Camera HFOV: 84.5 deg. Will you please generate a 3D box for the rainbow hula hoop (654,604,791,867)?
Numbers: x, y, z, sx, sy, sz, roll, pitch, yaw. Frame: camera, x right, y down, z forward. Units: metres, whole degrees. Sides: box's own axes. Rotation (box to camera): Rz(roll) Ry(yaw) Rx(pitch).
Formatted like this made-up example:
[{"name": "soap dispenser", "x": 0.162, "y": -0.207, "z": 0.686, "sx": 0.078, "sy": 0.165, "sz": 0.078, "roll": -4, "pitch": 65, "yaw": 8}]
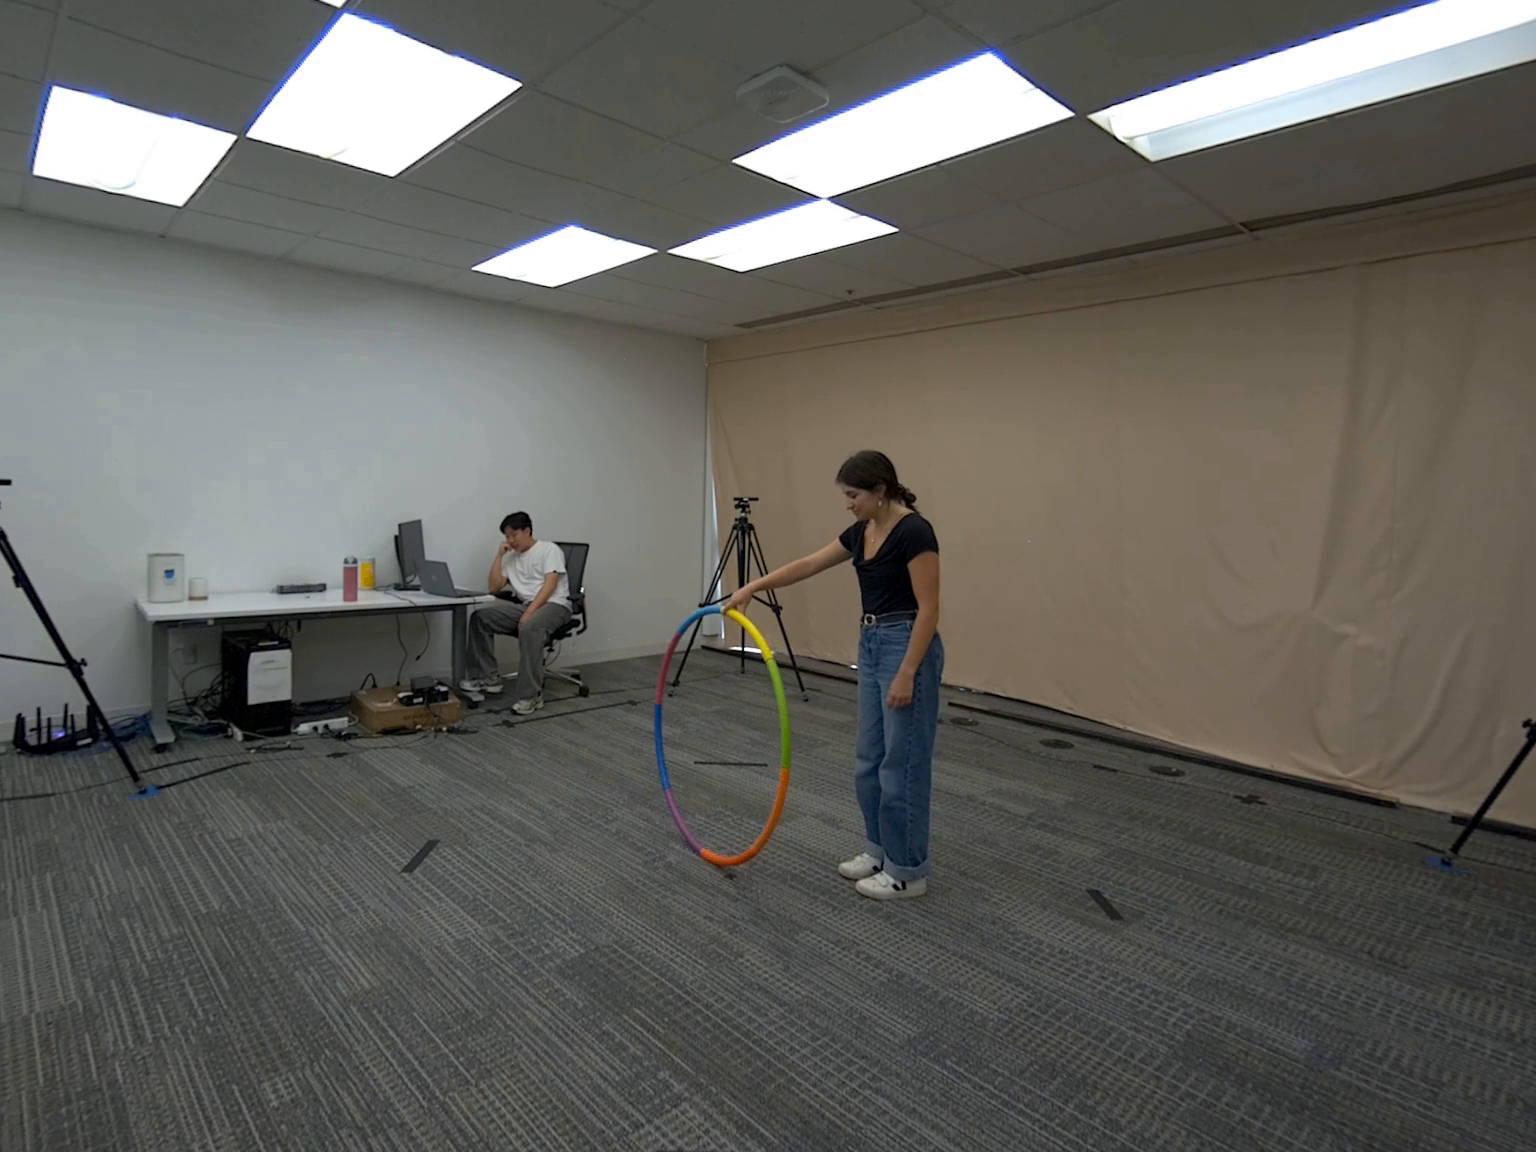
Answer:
[{"name": "rainbow hula hoop", "x": -0.217, "y": 0.611, "z": 3.262, "sx": 0.035, "sy": 0.978, "sz": 1.002, "roll": 4, "pitch": 2, "yaw": -33}]
